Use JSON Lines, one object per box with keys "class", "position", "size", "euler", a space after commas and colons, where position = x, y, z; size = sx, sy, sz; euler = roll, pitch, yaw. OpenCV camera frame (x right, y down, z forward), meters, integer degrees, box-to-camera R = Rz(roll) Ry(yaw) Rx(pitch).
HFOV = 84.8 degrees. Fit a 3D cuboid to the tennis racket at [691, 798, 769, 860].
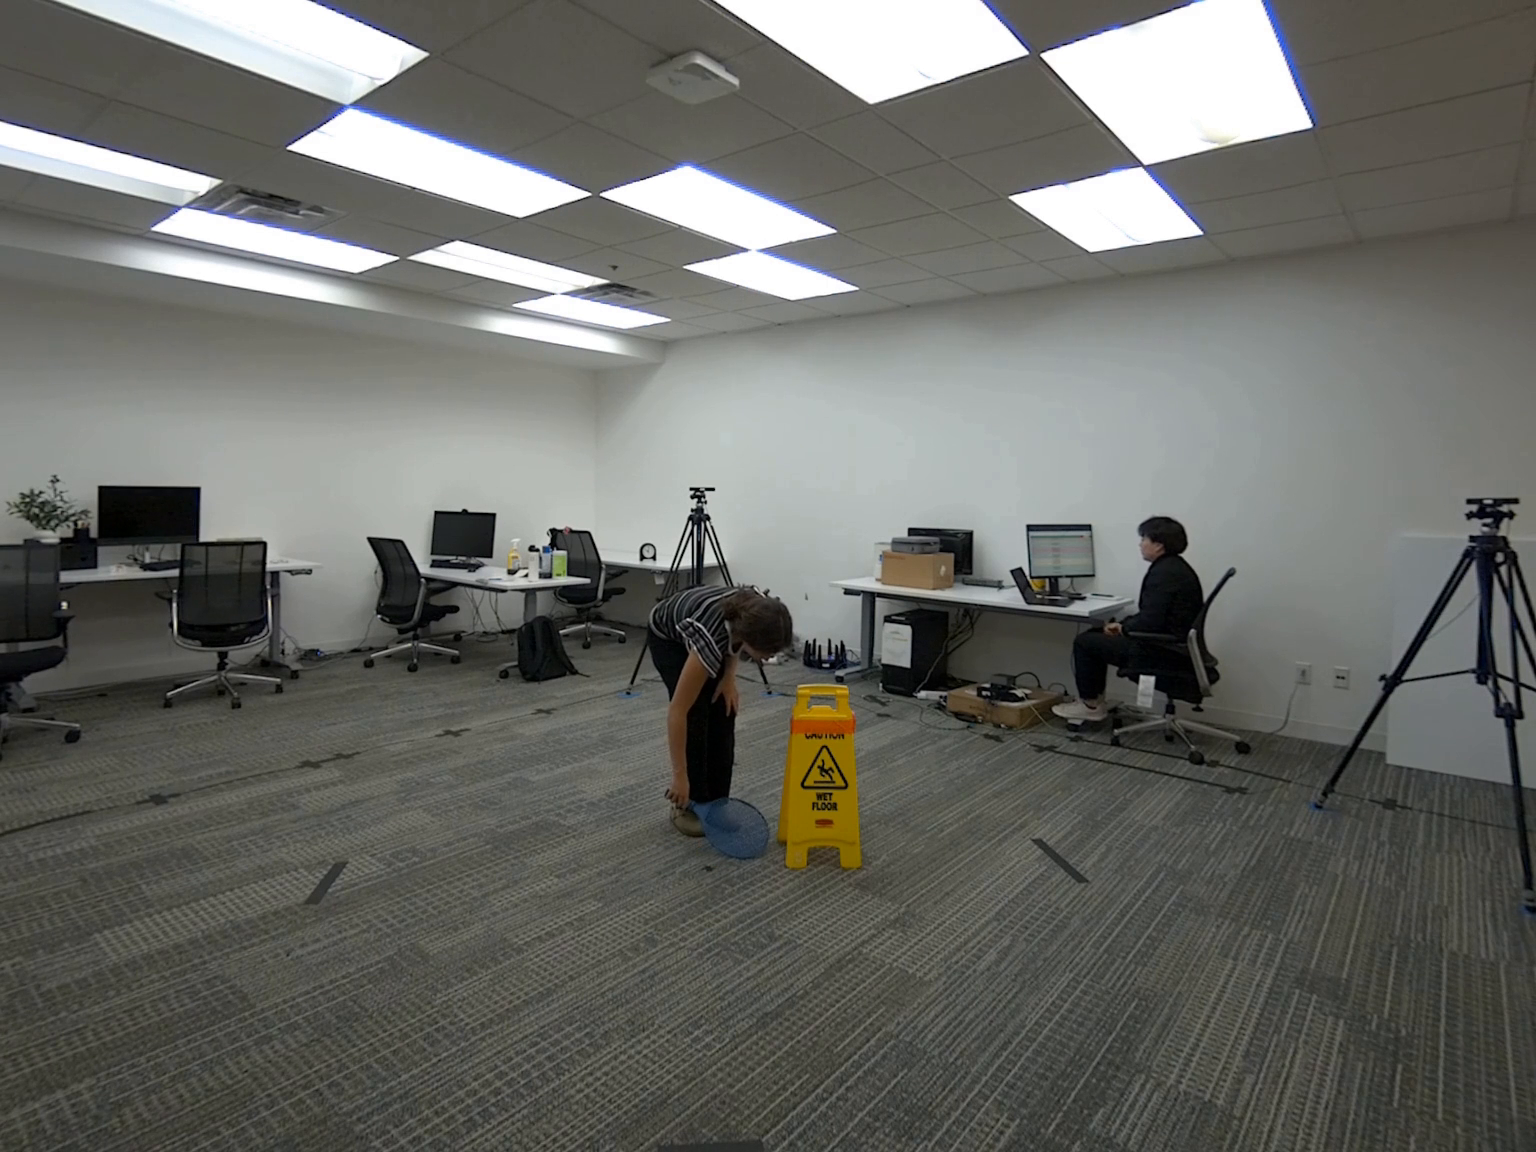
{"class": "tennis racket", "position": [-0.205, 0.929, 3.250], "size": [0.437, 0.216, 0.031], "euler": [23, -30, 6]}
